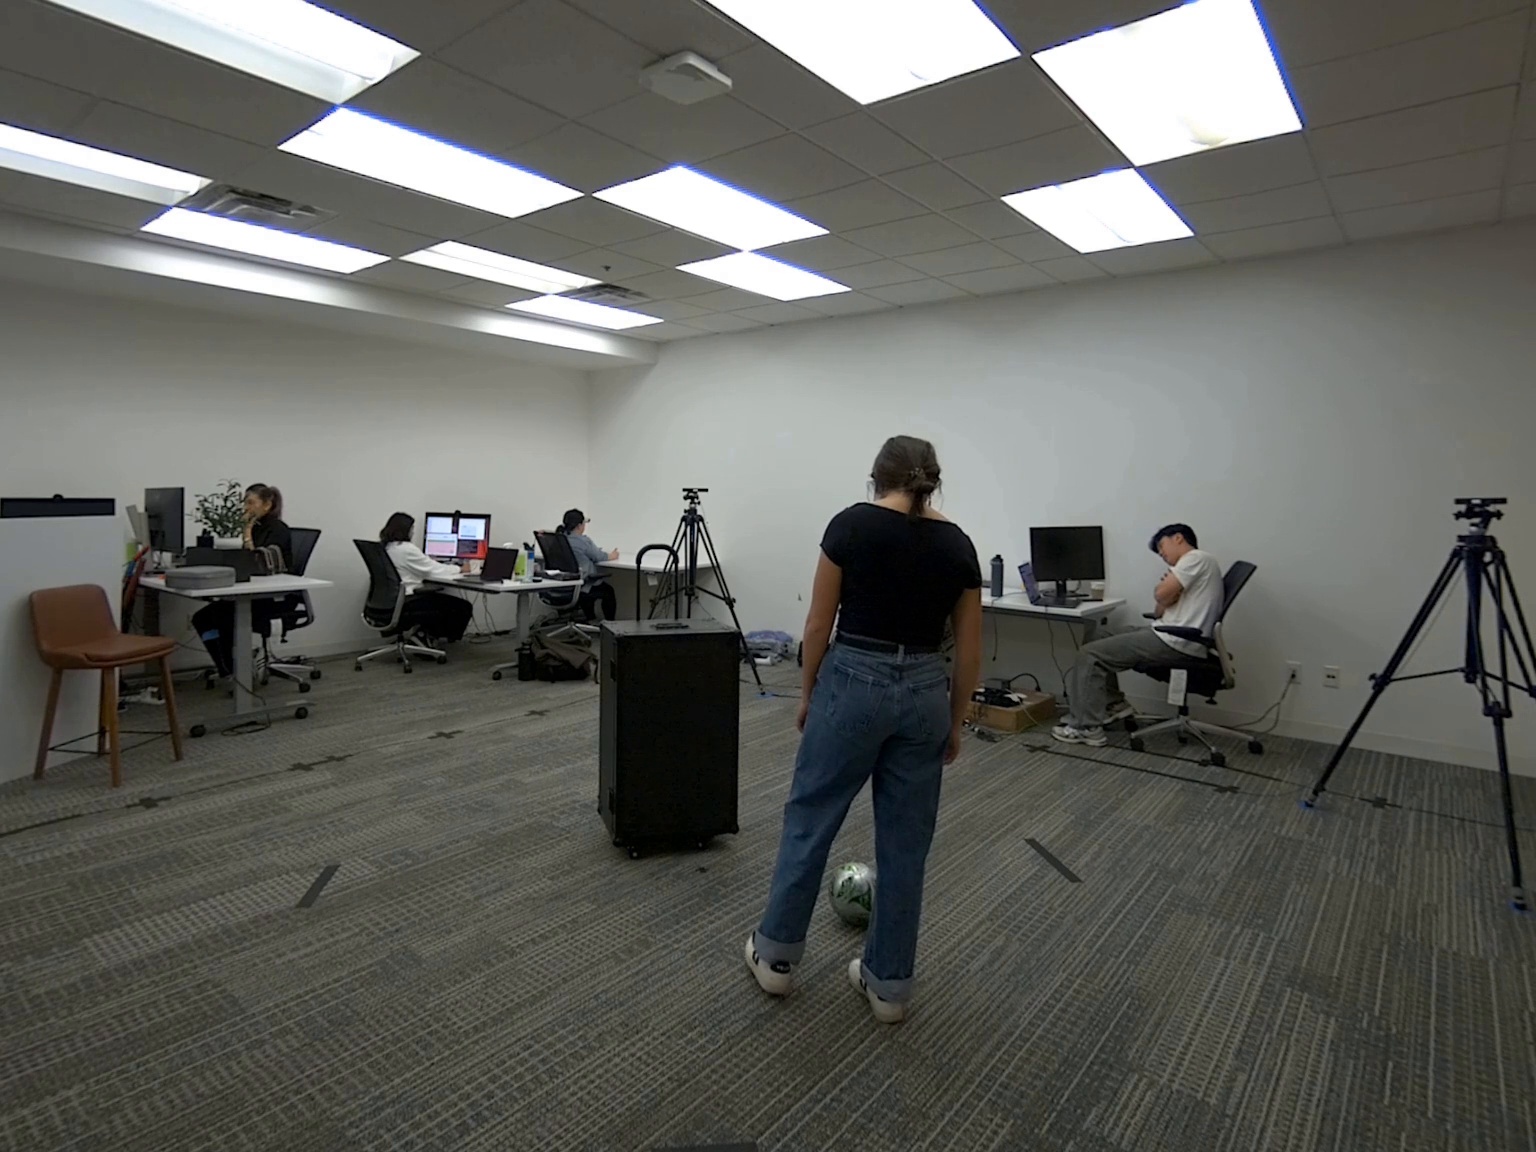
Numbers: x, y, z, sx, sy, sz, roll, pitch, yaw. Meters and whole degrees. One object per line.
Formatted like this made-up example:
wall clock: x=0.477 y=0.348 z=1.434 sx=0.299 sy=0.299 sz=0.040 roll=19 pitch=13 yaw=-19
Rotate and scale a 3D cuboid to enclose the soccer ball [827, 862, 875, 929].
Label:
soccer ball: x=0.292 y=1.018 z=2.754 sx=0.187 sy=0.187 sz=0.188 roll=1 pitch=4 yaw=-2
